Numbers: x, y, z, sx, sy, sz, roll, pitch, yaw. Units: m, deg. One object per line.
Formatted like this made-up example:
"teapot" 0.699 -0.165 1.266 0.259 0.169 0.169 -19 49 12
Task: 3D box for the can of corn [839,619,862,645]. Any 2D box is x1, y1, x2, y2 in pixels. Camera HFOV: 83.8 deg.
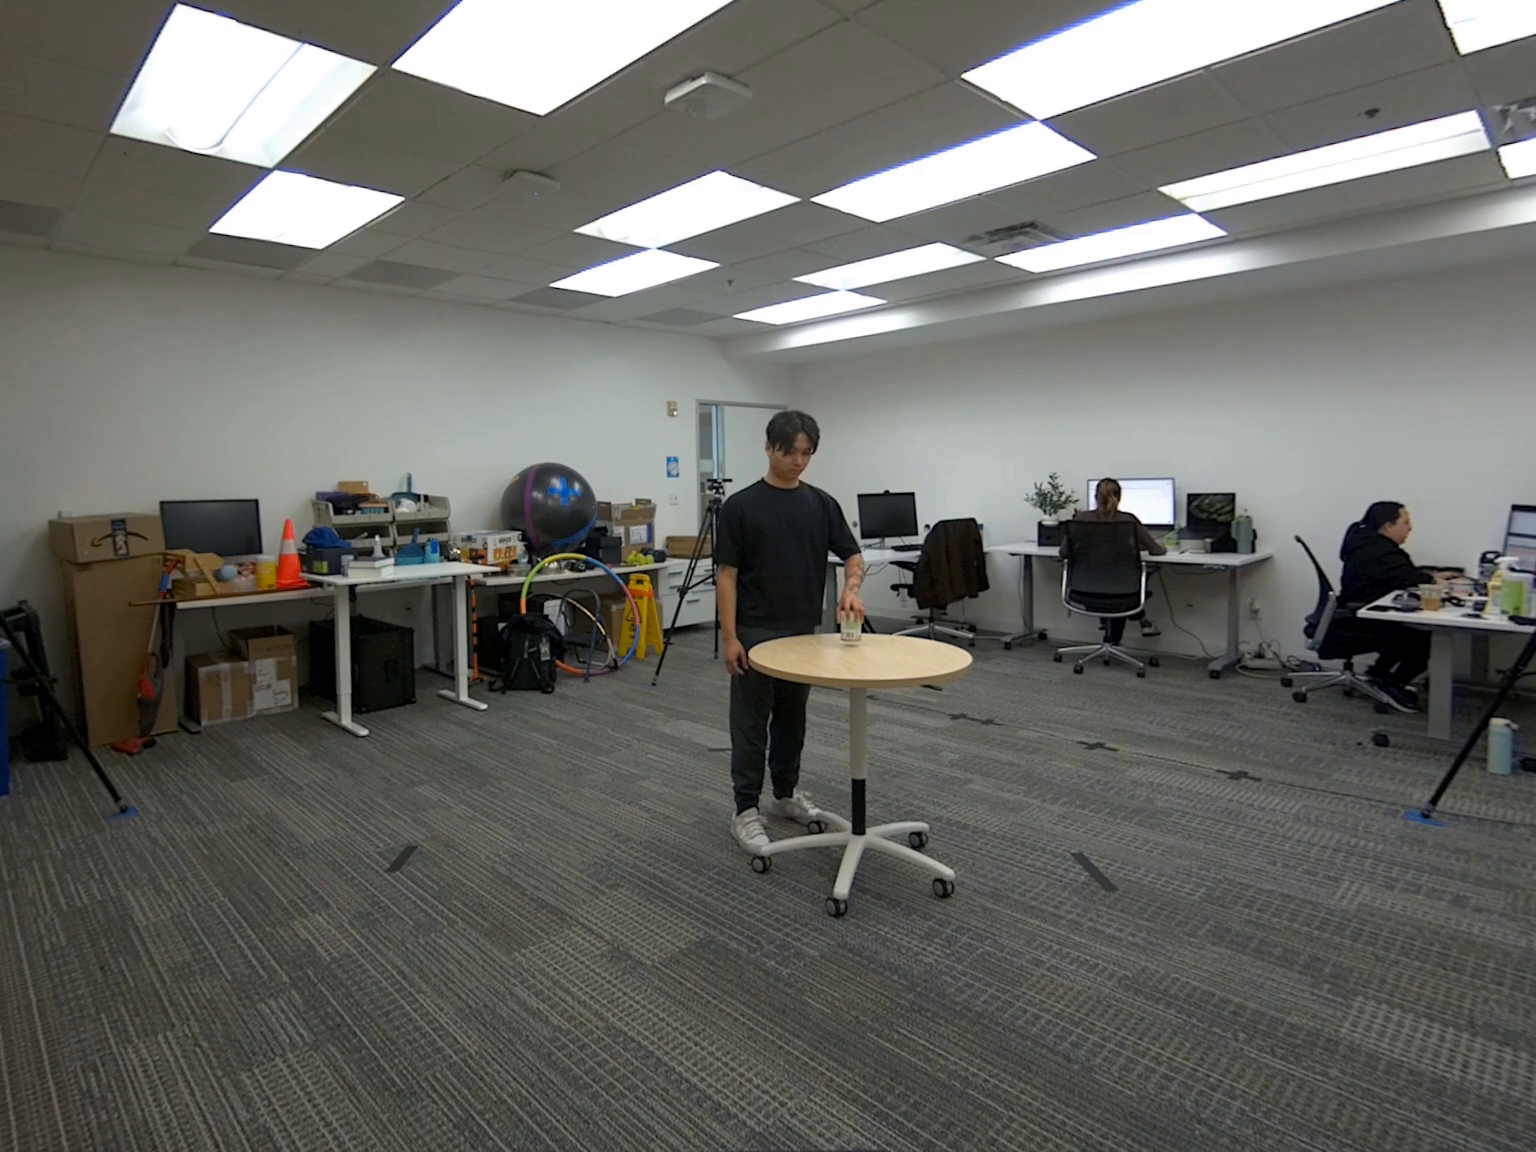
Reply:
"can of corn" 0.297 0.182 3.109 0.074 0.111 0.074 1 1 -2
